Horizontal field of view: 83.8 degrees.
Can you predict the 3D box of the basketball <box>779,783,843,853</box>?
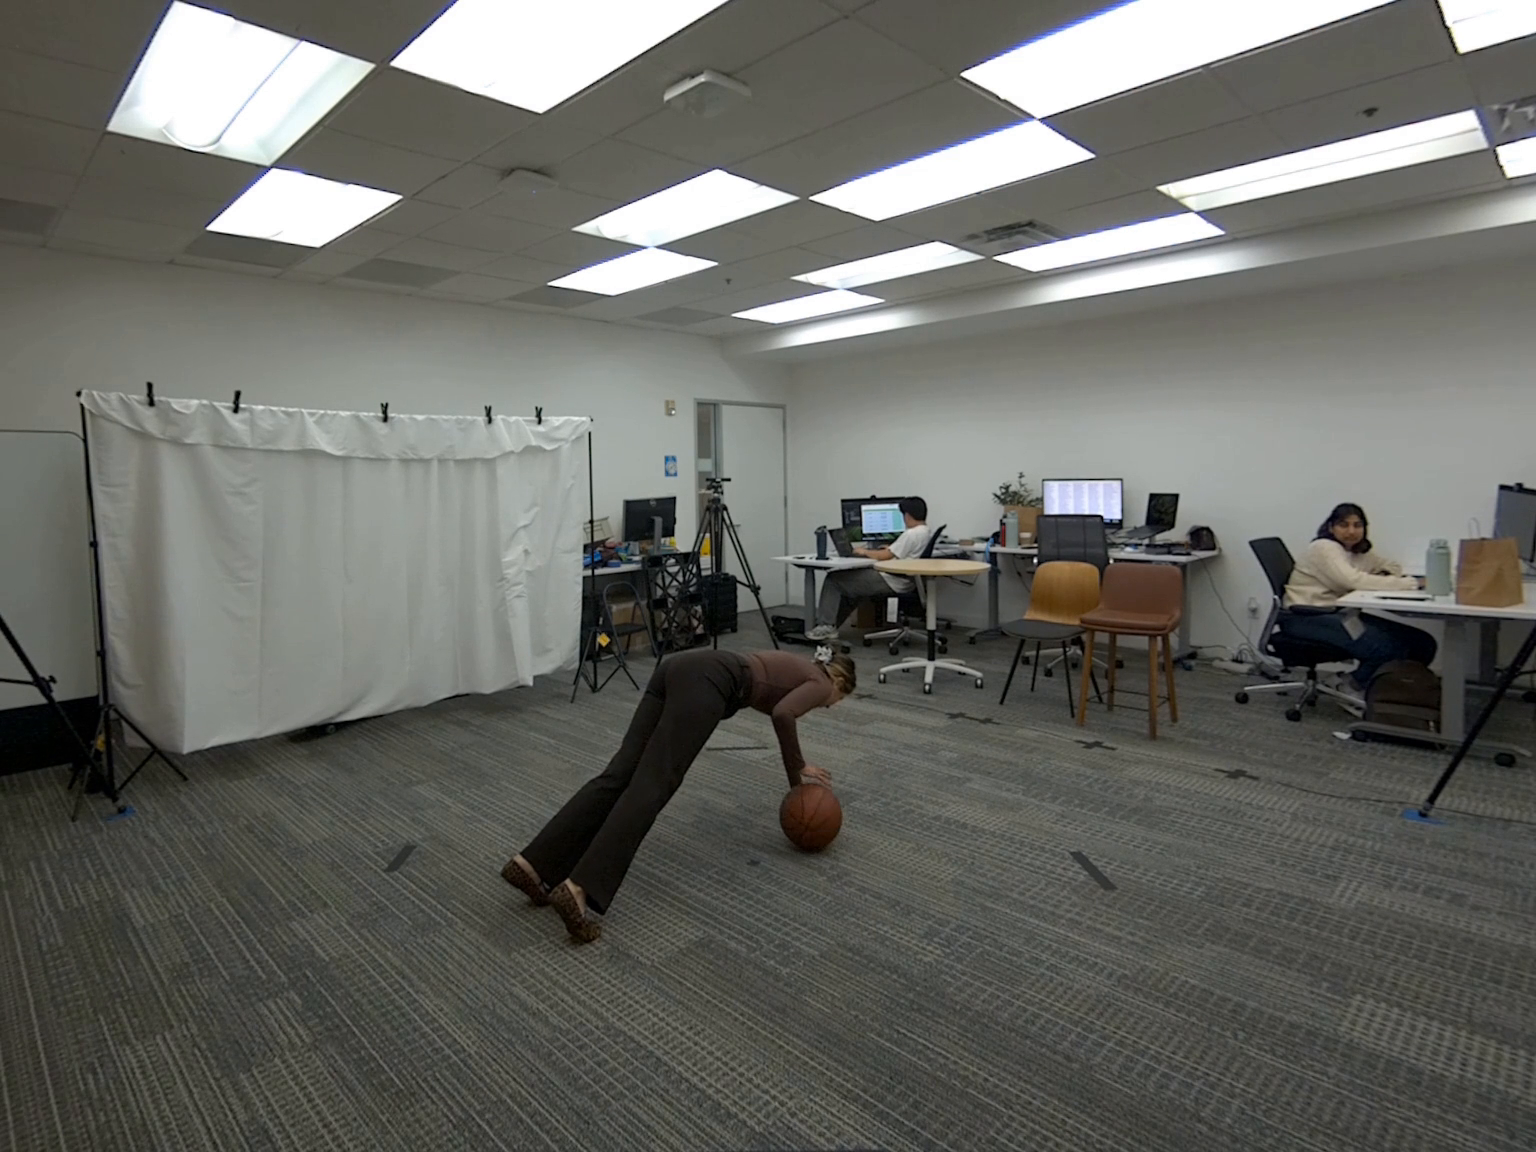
[{"bbox_3d":[0.163,0.904,3.232,0.236,0.235,0.237,-1,5,-2],"label":"basketball"}]
